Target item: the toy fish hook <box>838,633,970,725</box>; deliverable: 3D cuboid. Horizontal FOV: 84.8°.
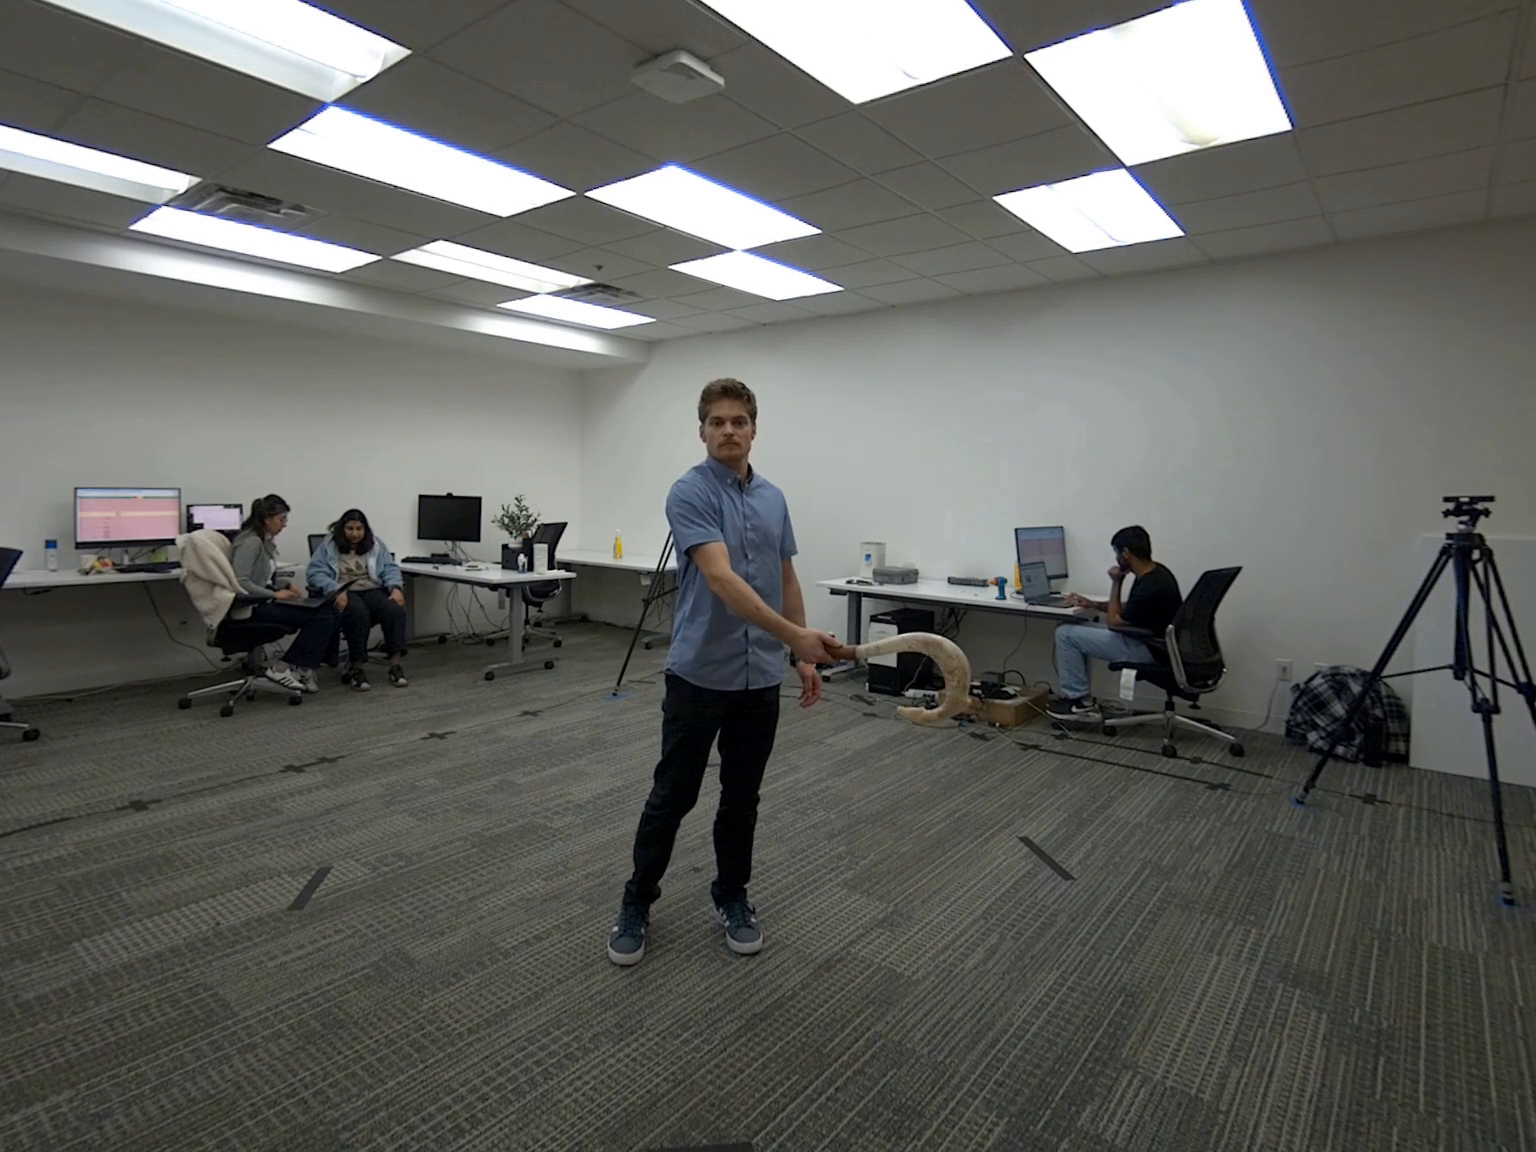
[{"bbox_3d":[0.250,0.257,2.162,0.523,0.225,0.047,0,-2,41],"label":"toy fish hook"}]
